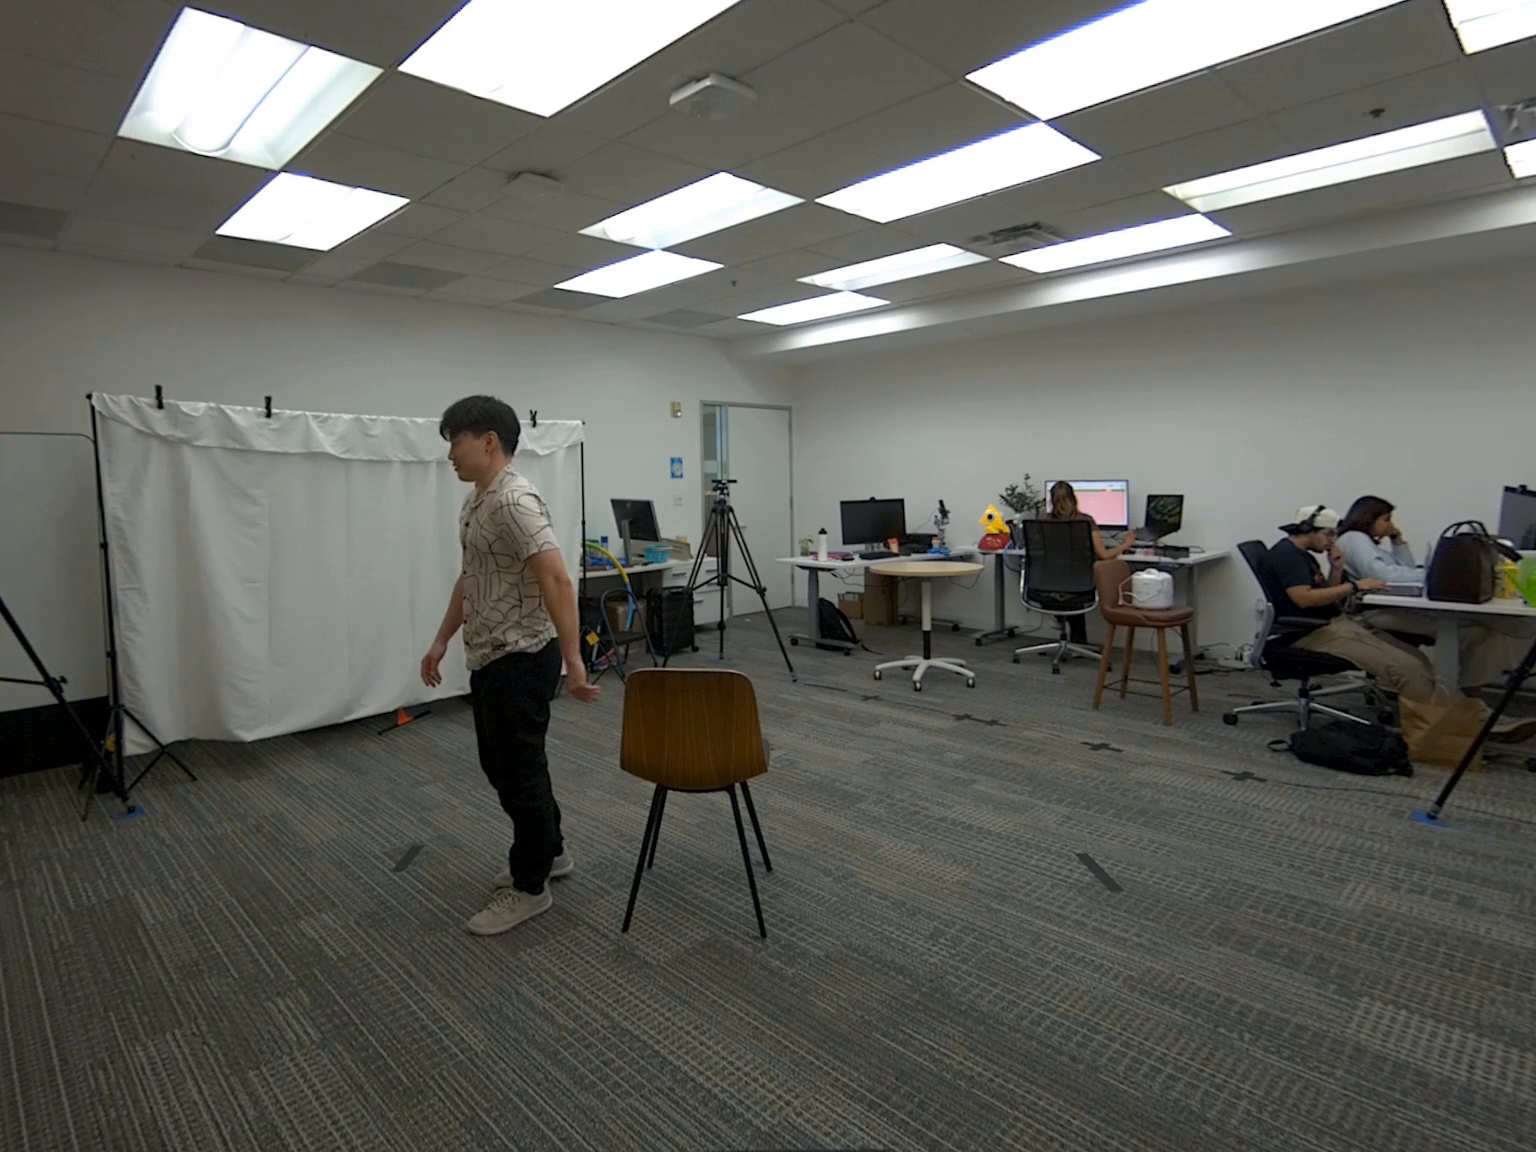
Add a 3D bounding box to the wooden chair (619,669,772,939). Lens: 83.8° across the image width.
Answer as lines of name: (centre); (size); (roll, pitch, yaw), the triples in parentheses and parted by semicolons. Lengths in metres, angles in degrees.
wooden chair: (-0.228, 0.655, 2.826); (0.480, 0.870, 0.525); (-1, 9, 4)
